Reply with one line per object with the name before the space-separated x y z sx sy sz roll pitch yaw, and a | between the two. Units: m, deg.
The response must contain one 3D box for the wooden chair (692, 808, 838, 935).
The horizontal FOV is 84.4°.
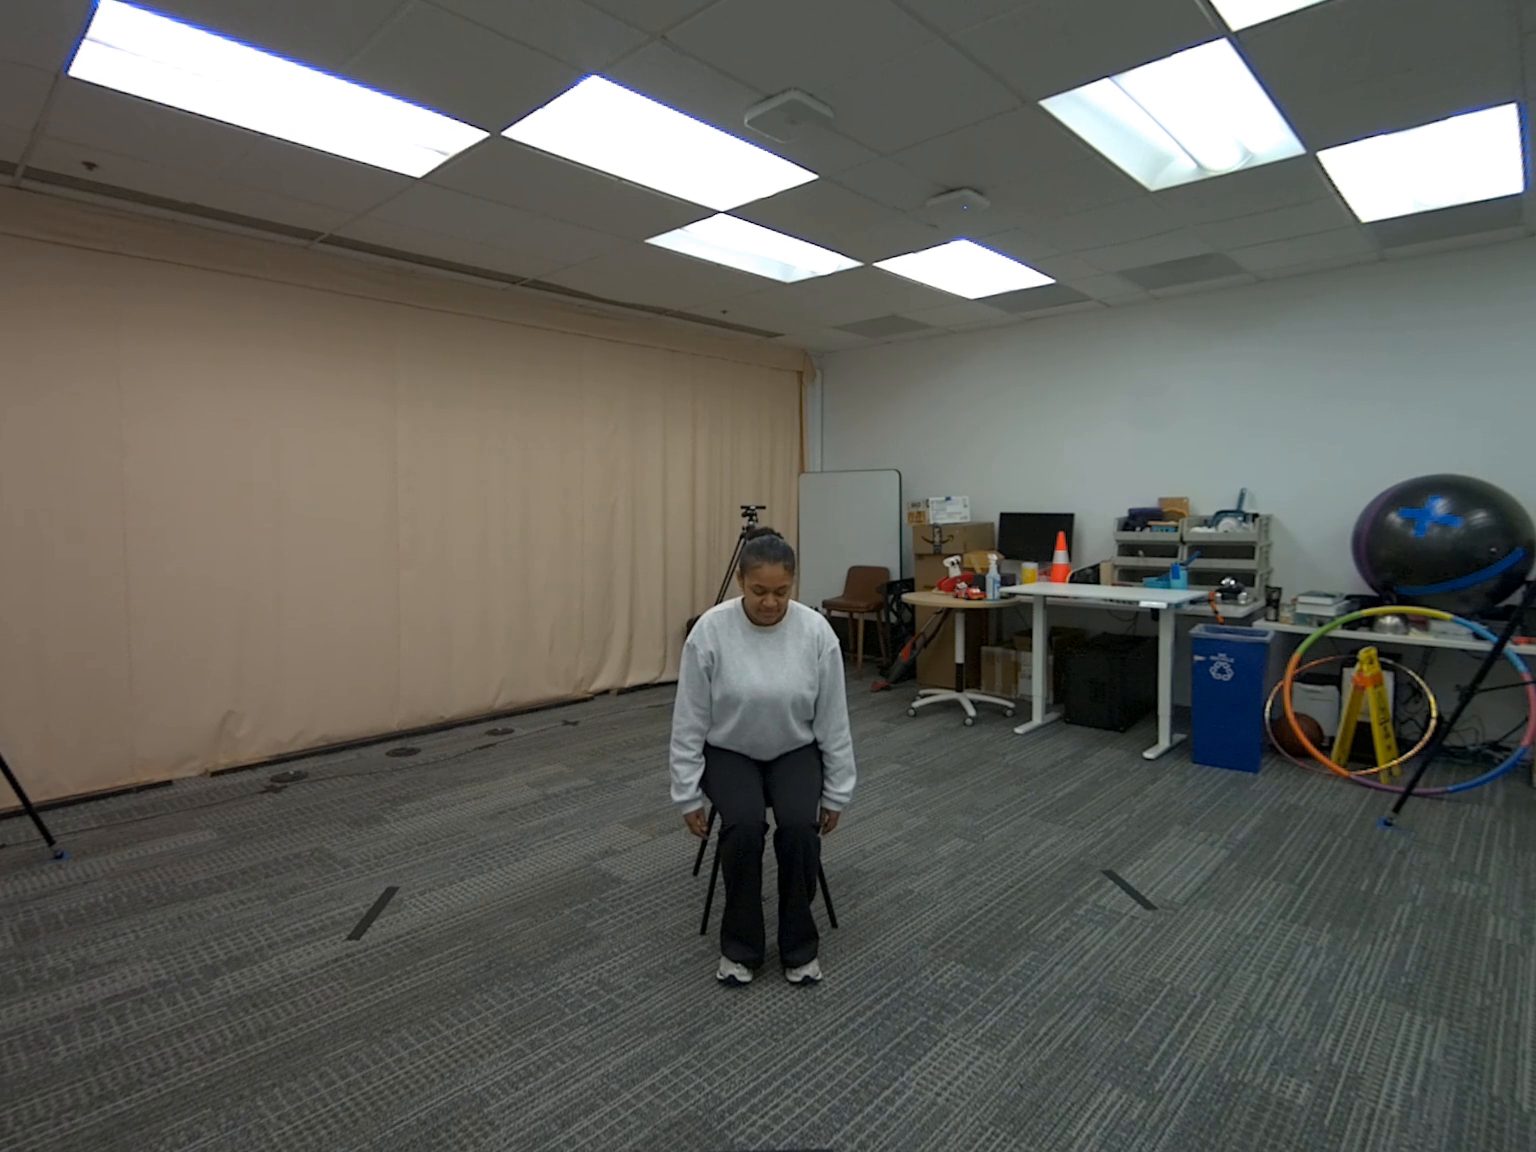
wooden chair | -0.022 0.718 2.938 0.474 0.877 0.527 0 0 -8
